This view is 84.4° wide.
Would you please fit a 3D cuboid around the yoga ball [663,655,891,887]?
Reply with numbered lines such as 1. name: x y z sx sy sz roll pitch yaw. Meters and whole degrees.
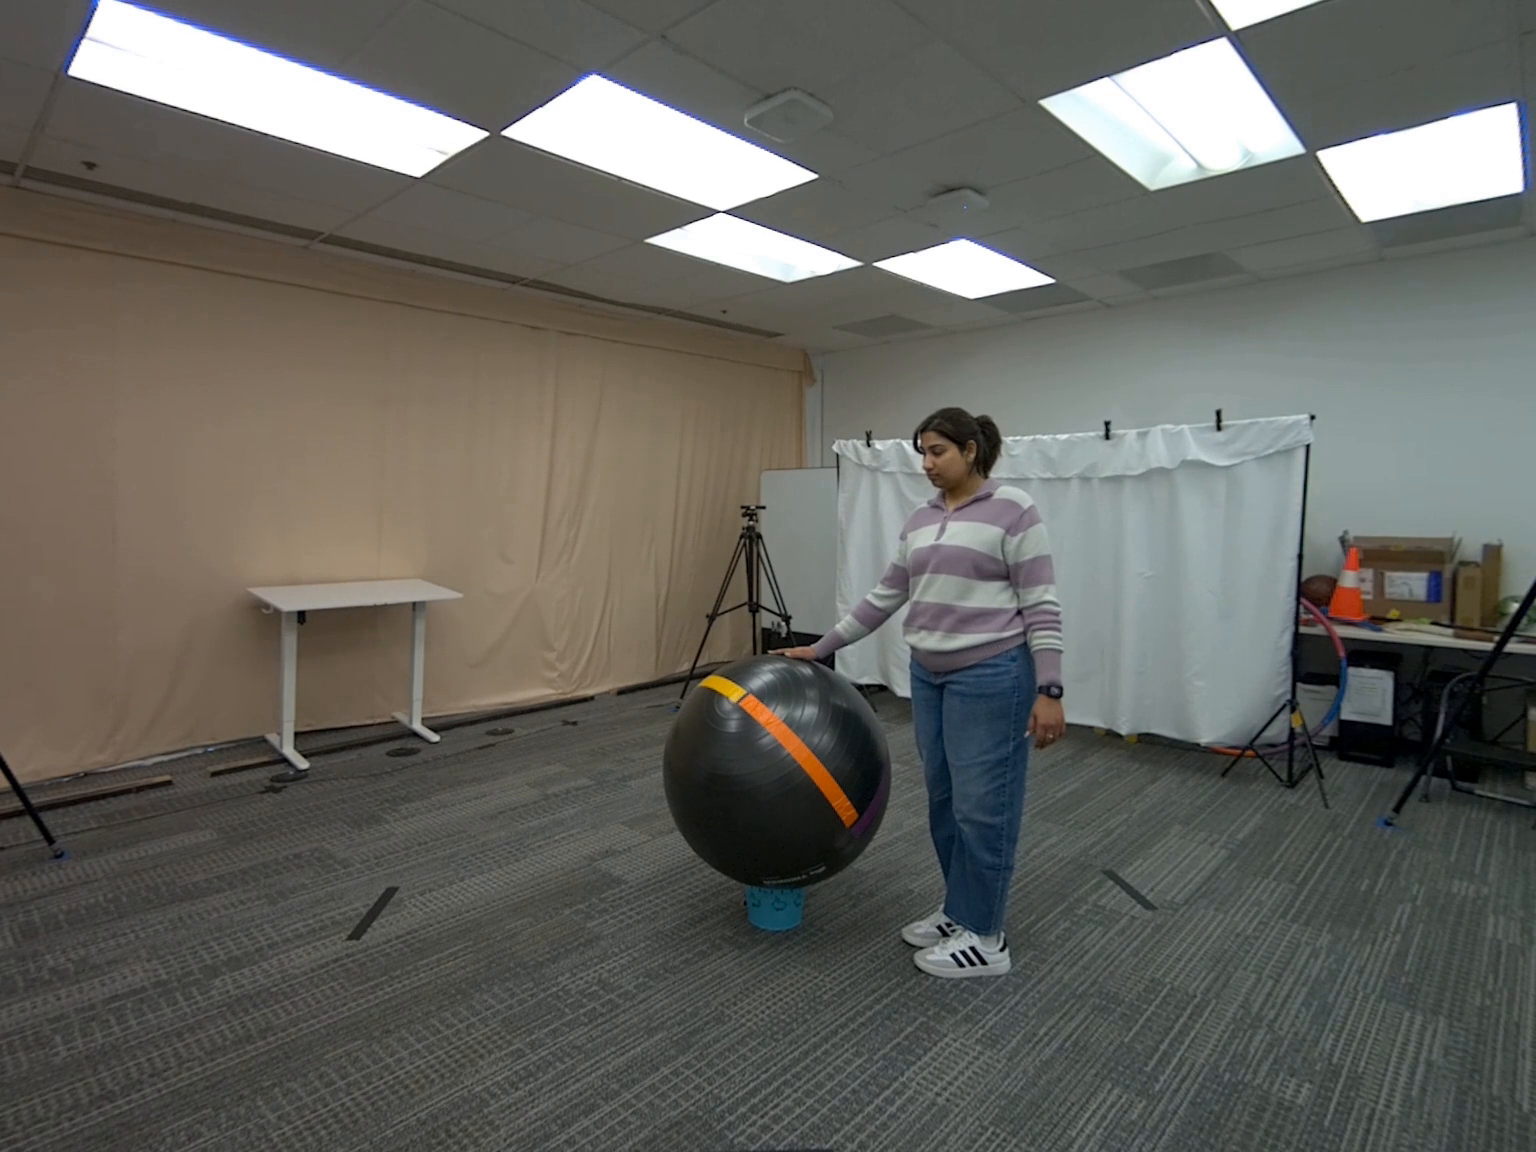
1. yoga ball: 0.029 0.644 2.830 0.757 0.756 0.760 0 4 -2
